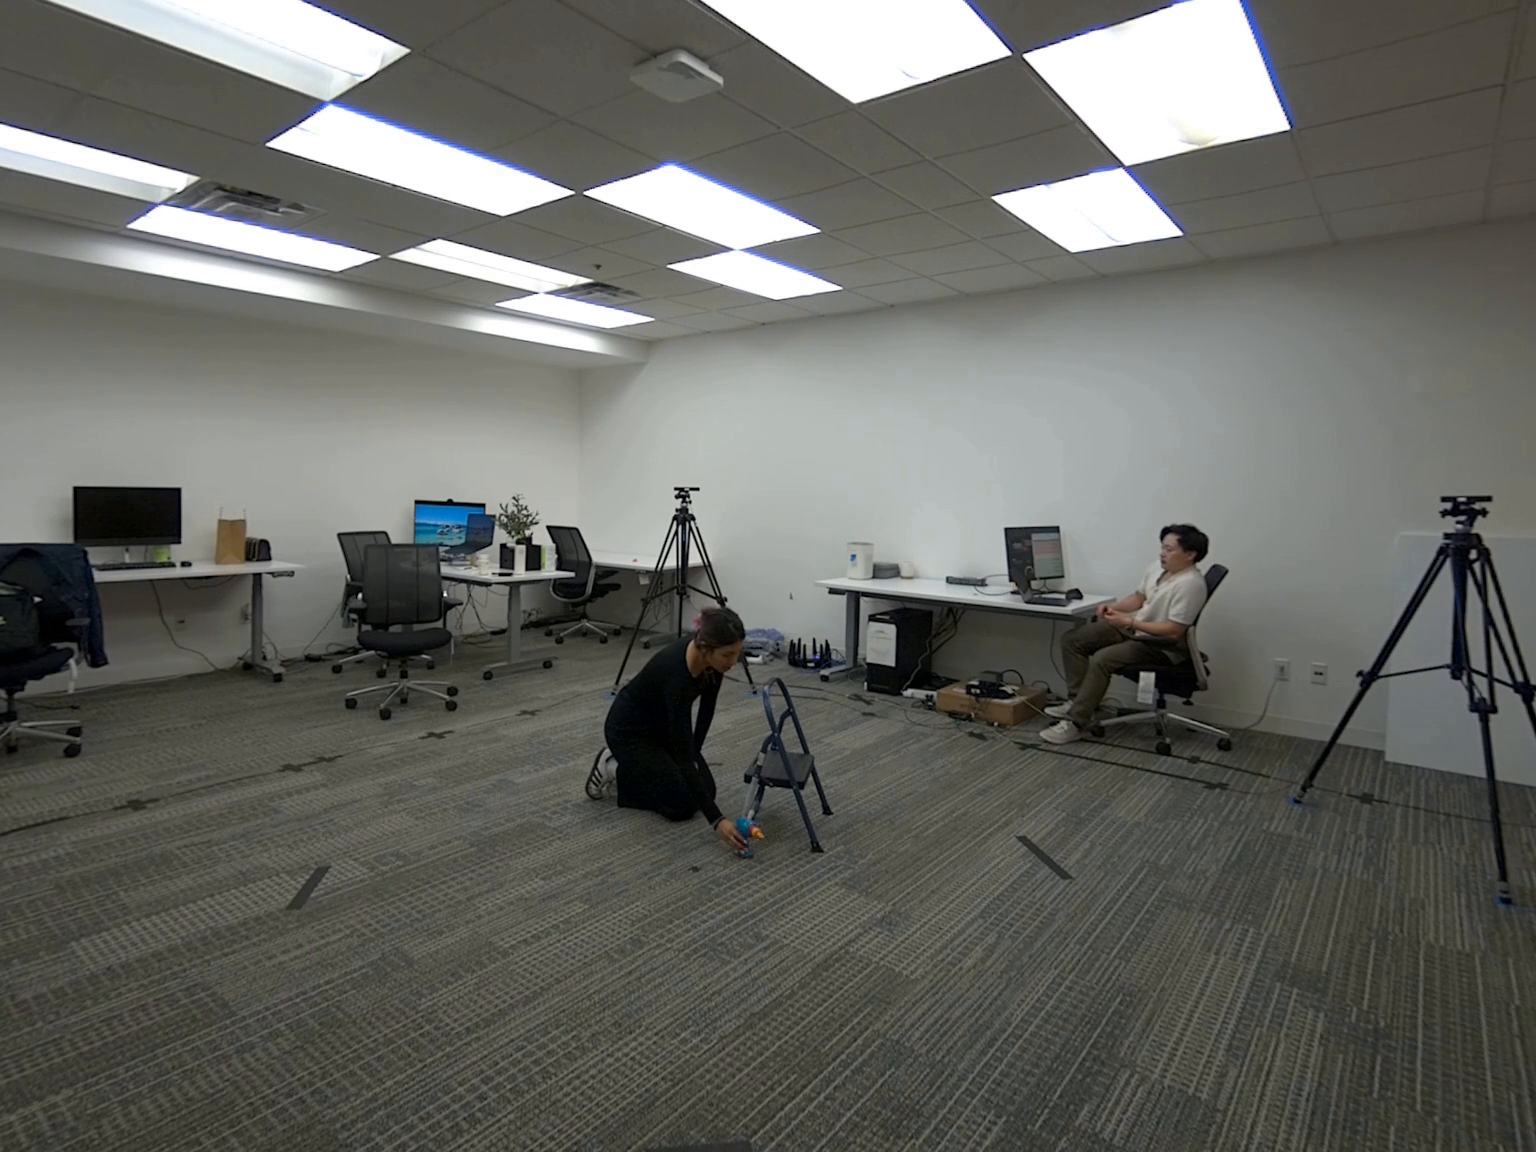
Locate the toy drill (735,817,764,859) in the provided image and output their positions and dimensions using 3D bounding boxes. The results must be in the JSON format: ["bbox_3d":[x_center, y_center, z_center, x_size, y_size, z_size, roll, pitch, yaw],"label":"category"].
[{"bbox_3d":[-0.082,0.985,3.198,0.059,0.145,0.175,-7,9,-34],"label":"toy drill"}]
